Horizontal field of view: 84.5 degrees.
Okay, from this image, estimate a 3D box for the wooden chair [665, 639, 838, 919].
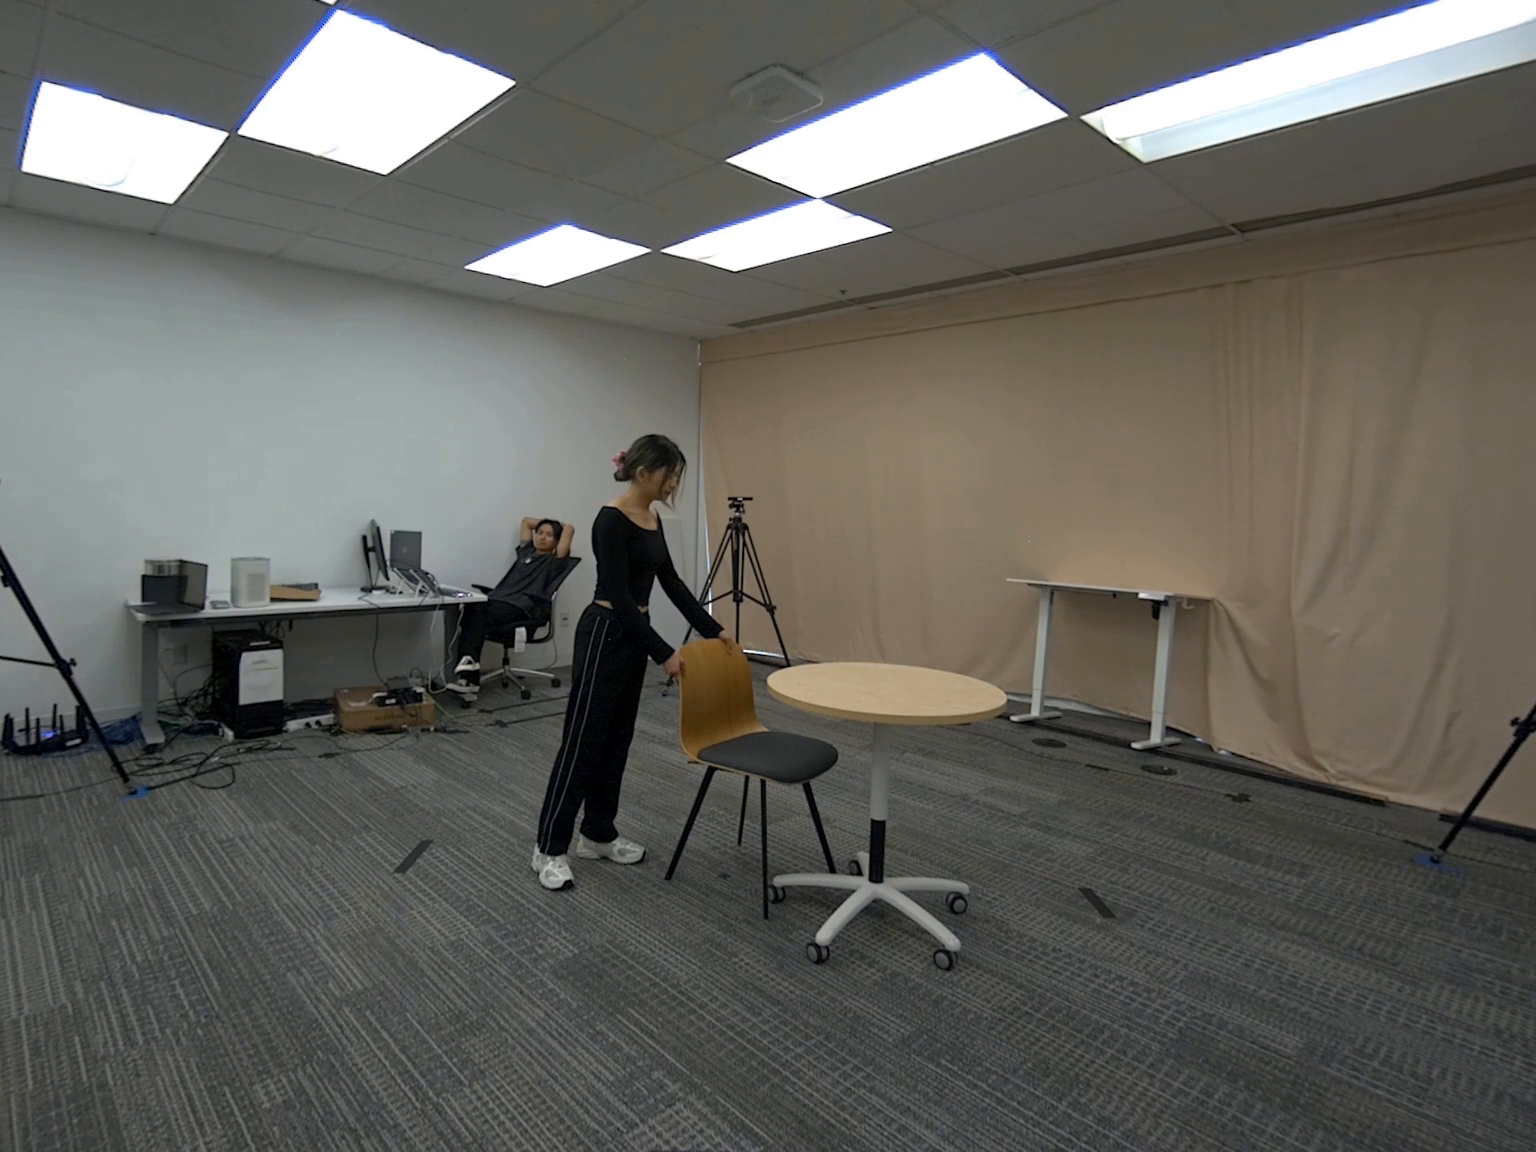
[{"bbox_3d":[-0.051,0.683,3.063,0.535,0.877,0.467,-1,1,37],"label":"wooden chair"}]
